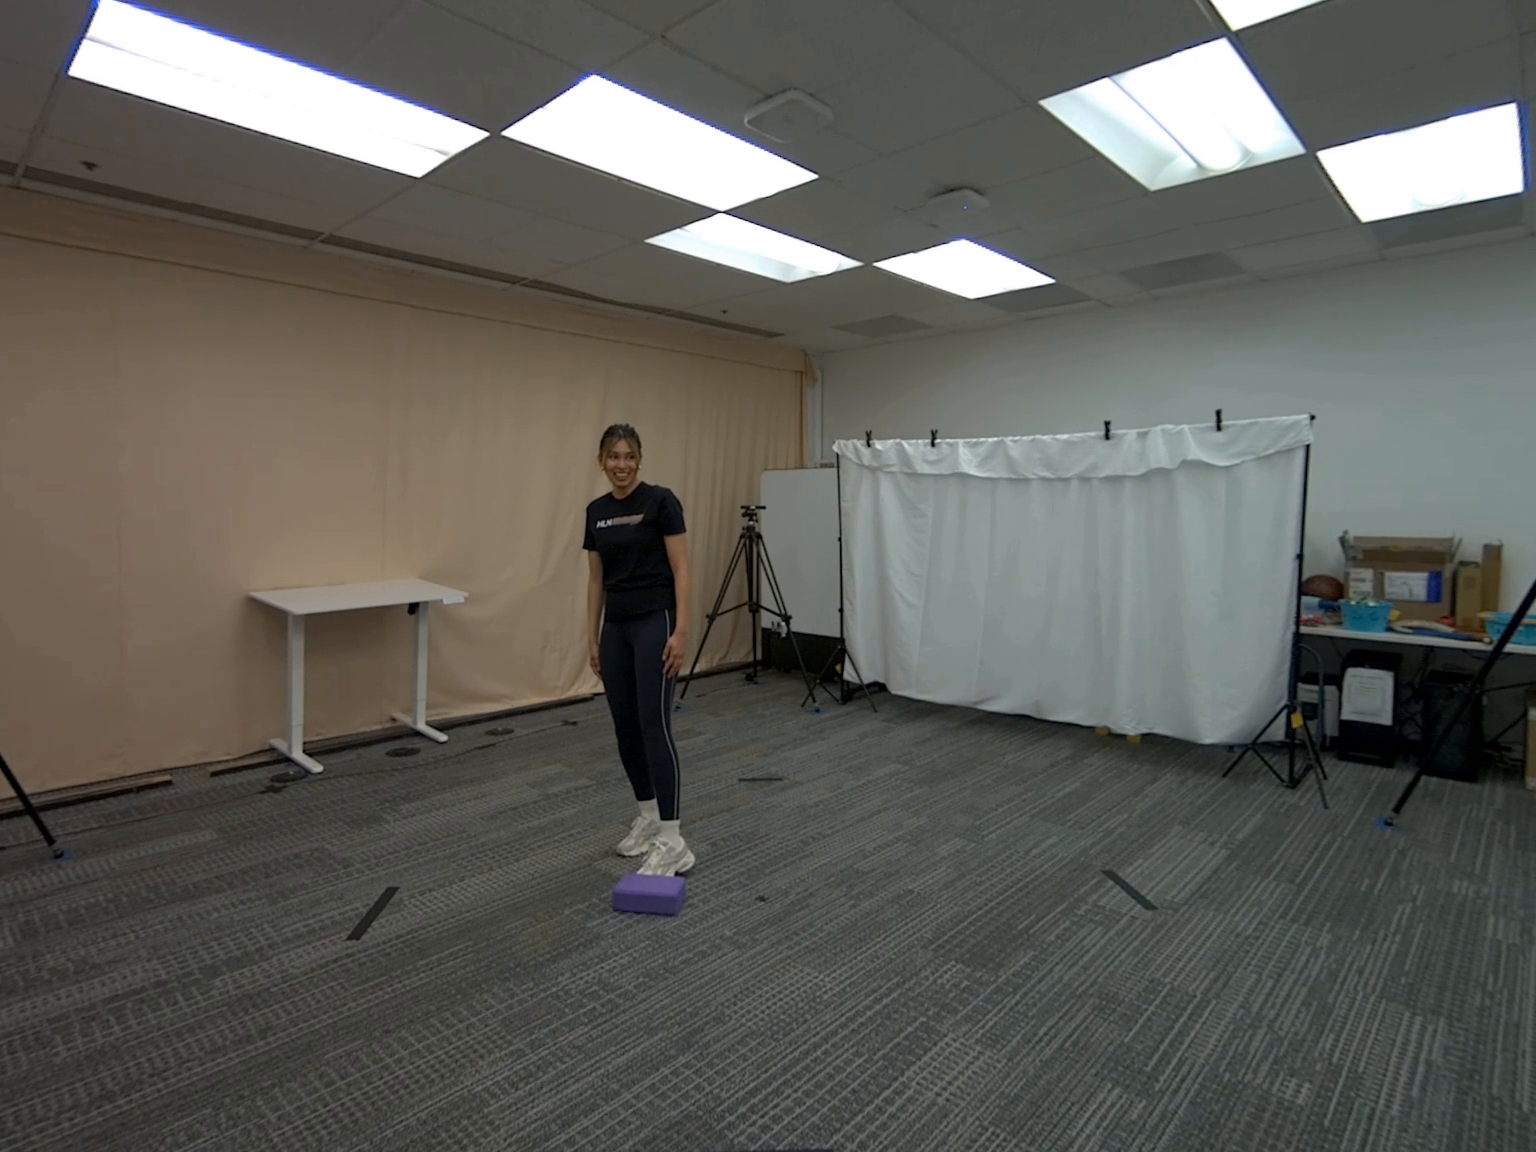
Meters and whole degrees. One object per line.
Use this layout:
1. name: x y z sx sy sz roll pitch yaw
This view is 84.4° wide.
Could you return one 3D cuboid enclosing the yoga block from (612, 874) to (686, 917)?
1. yoga block: -0.412 1.107 2.941 0.232 0.076 0.147 1 4 11
